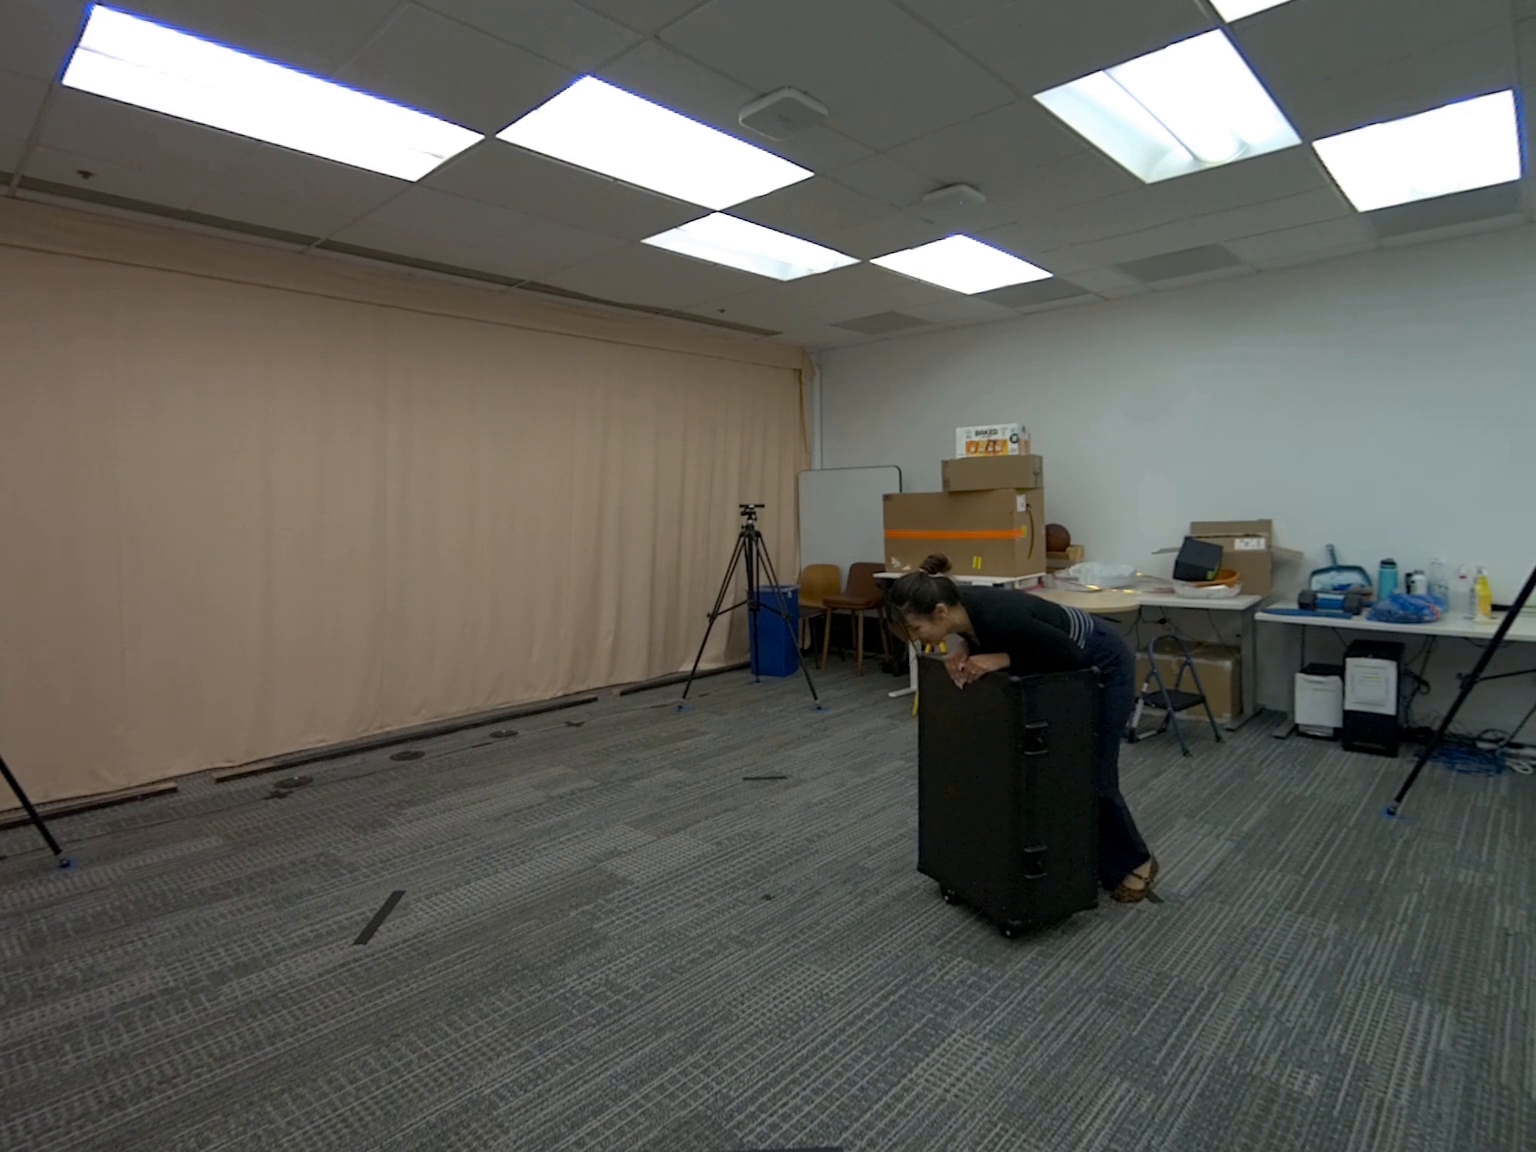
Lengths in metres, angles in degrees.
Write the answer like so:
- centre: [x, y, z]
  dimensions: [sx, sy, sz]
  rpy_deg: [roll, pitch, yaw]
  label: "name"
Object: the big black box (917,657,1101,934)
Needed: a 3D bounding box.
- centre: [0.804, 0.712, 2.861]
  dimensions: [0.387, 0.860, 0.535]
  rpy_deg: [-1, 3, -25]
  label: "big black box"
